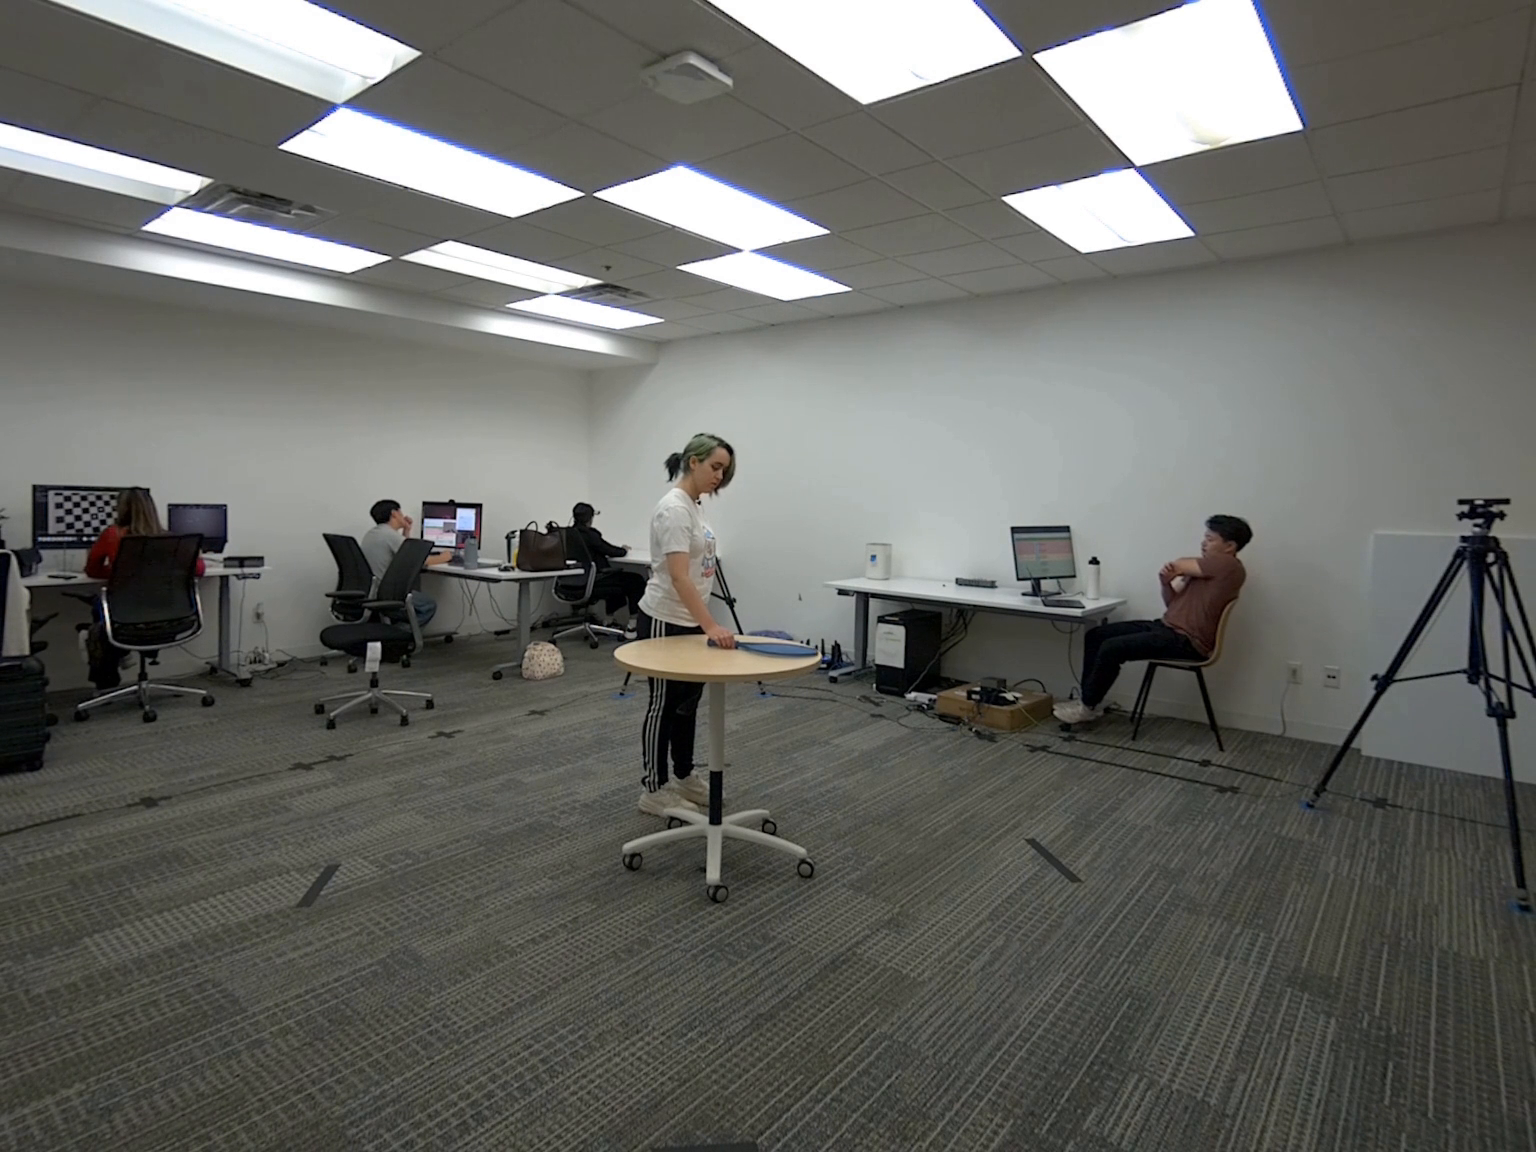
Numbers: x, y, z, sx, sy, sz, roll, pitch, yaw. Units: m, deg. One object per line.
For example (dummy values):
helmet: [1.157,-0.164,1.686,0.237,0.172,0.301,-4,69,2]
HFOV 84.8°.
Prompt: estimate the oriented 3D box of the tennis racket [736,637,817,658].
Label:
tennis racket: [-0.033,0.269,3.199,0.445,0.031,0.209,5,6,25]
